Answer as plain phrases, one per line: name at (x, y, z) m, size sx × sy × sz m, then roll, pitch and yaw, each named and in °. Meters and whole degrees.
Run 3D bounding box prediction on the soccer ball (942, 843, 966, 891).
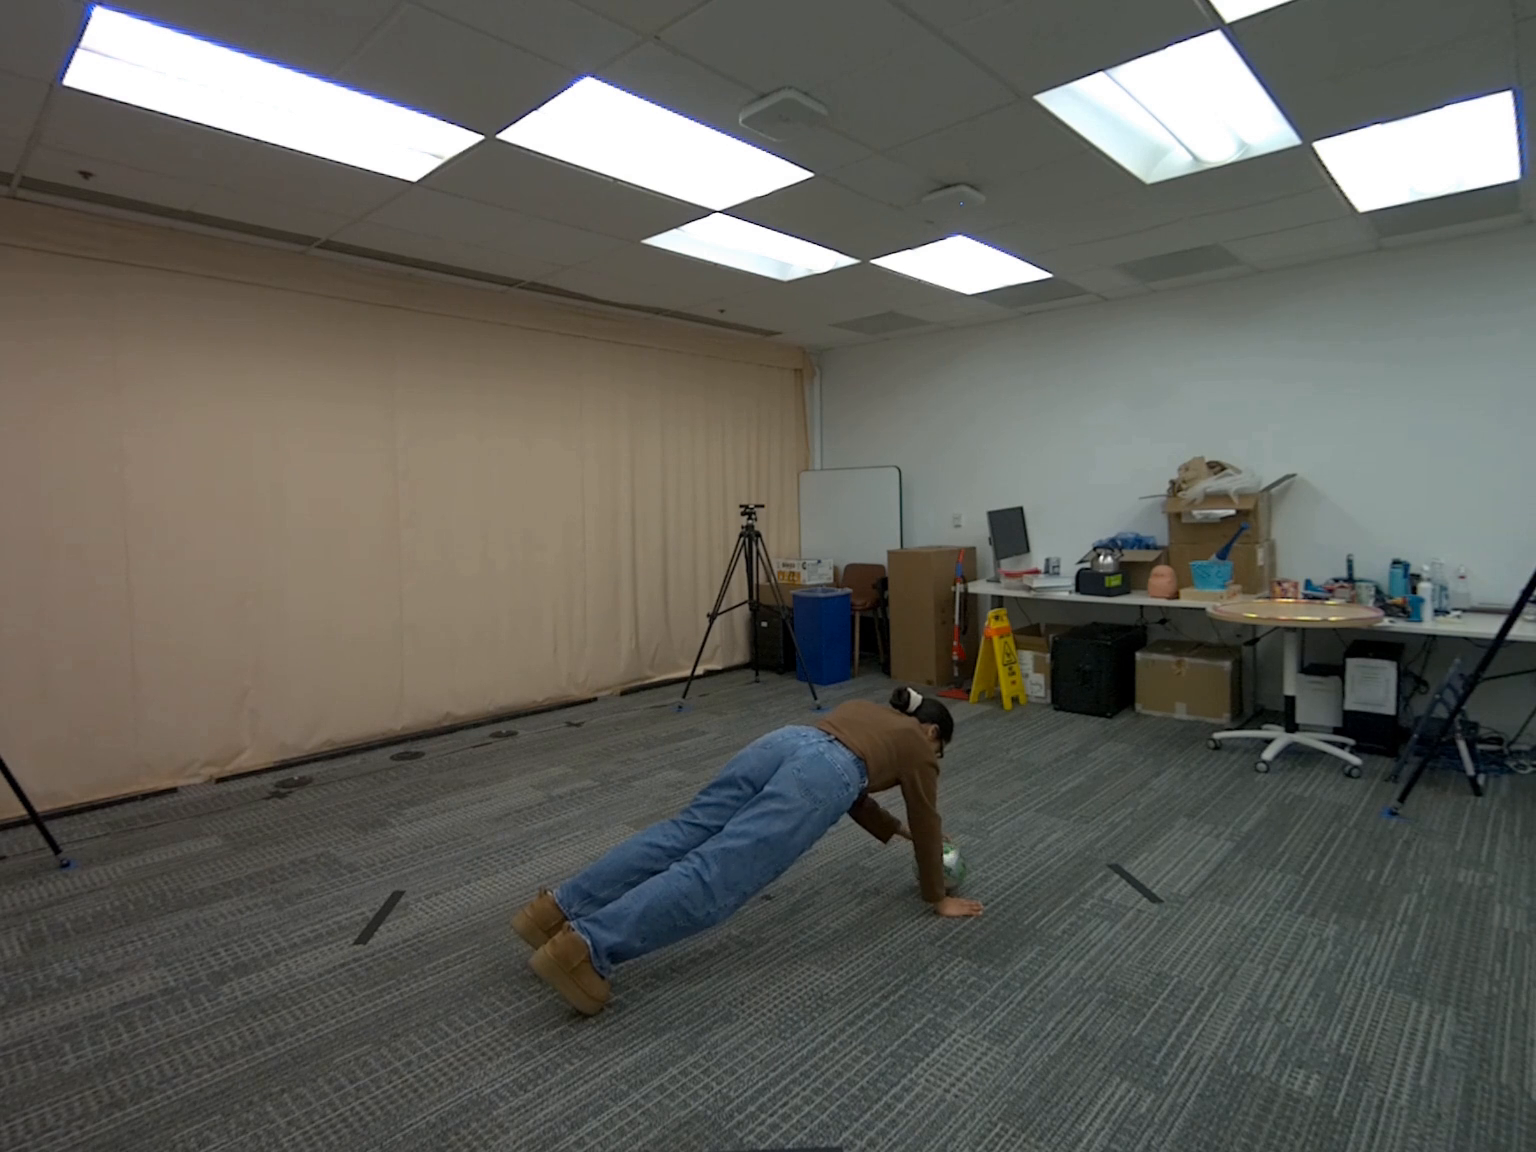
soccer ball at (0.606, 1.038, 3.003) m, size 0.187 × 0.187 × 0.188 m, roll -1°, pitch 4°, yaw -2°
